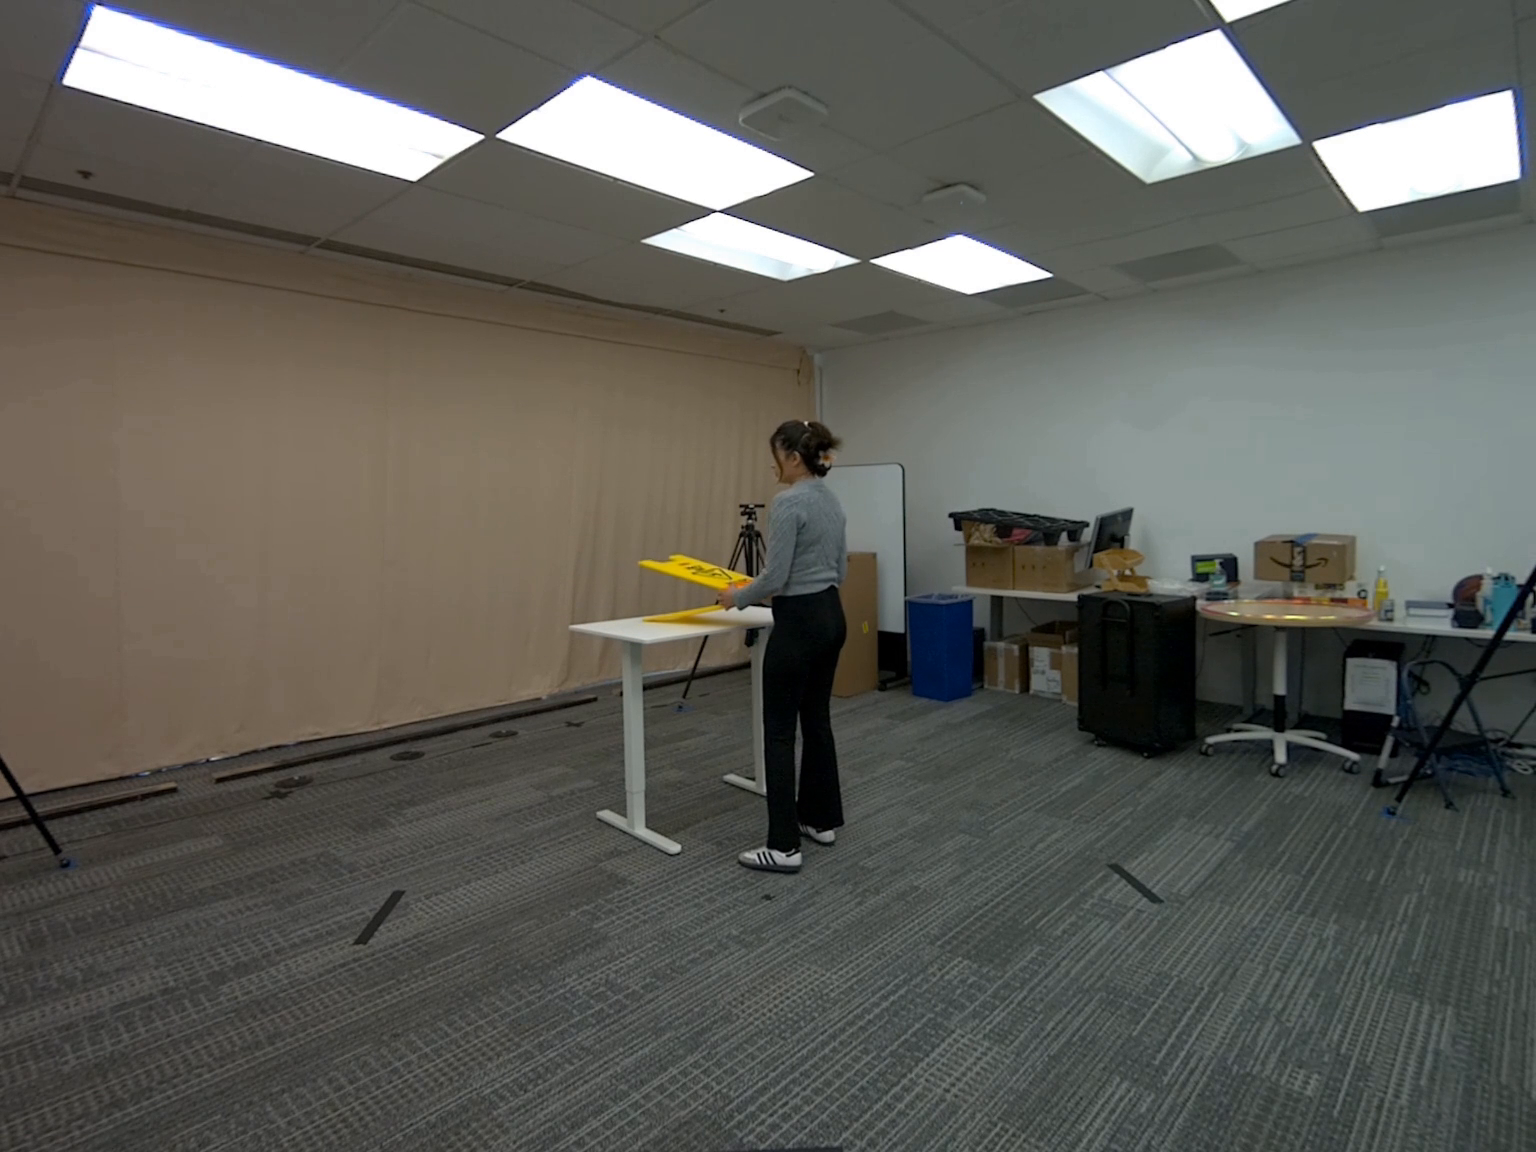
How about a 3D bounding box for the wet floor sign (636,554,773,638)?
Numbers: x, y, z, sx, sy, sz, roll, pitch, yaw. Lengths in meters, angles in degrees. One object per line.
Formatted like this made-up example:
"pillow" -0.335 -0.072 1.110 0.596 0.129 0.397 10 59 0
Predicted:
"wet floor sign" -0.239 0.068 3.665 0.667 0.289 0.274 2 8 40
